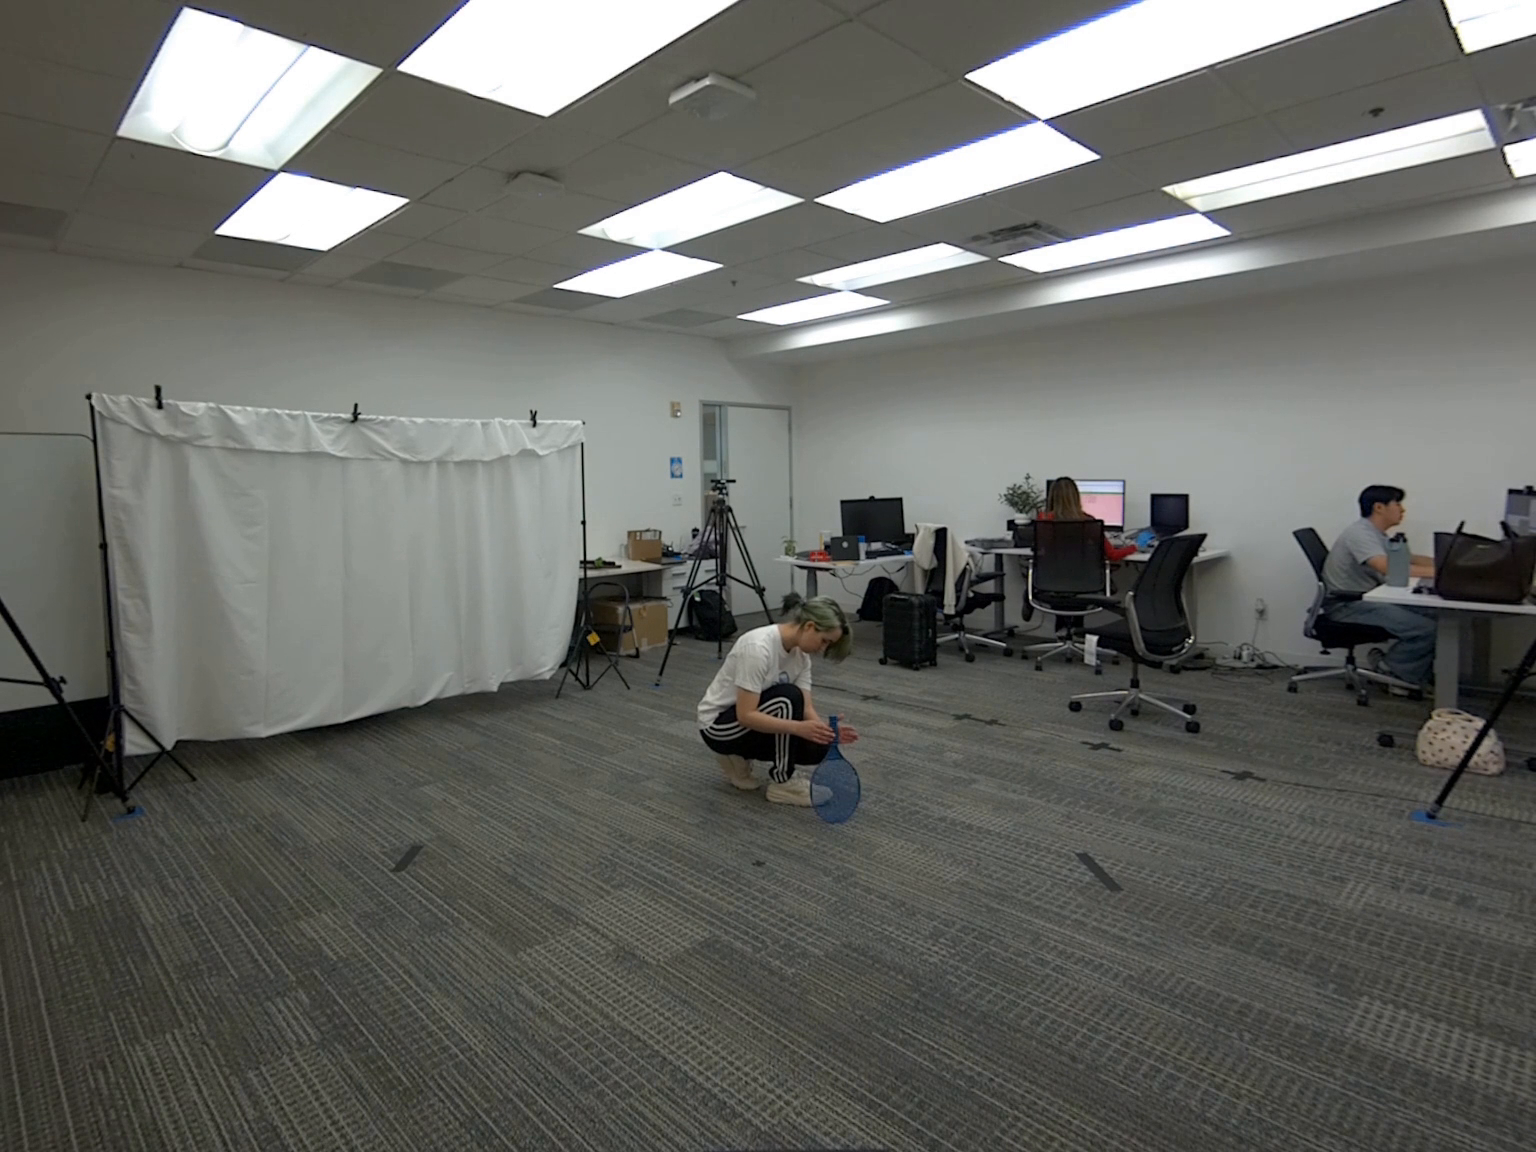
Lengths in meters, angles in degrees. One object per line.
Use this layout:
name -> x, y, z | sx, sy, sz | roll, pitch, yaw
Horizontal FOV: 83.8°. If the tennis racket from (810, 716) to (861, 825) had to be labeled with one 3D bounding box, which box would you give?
tennis racket -> 0.271, 0.791, 3.471 | 0.211, 0.433, 0.032 | -1, 0, -12
